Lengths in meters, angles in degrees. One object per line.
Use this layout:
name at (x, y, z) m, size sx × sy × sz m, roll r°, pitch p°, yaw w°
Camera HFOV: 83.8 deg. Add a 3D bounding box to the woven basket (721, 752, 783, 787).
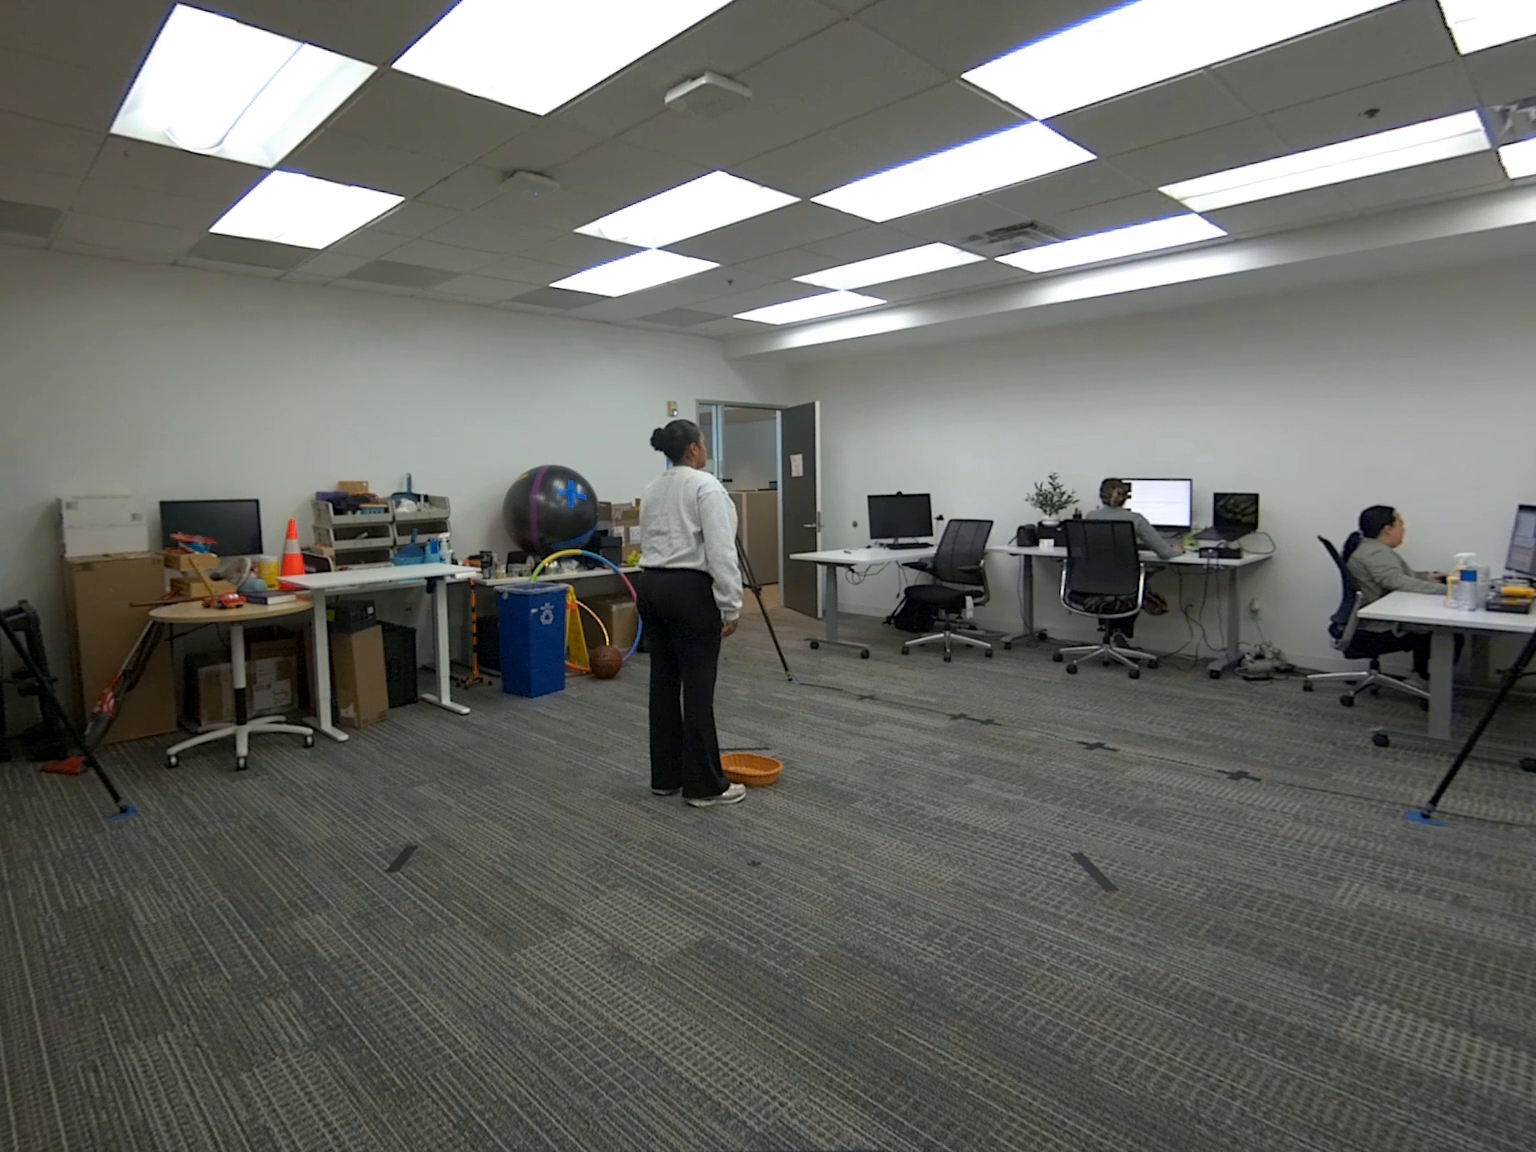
woven basket at (-0.097, 0.906, 4.000) m, size 0.361 × 0.073 × 0.246 m, roll 4°, pitch 8°, yaw 37°
